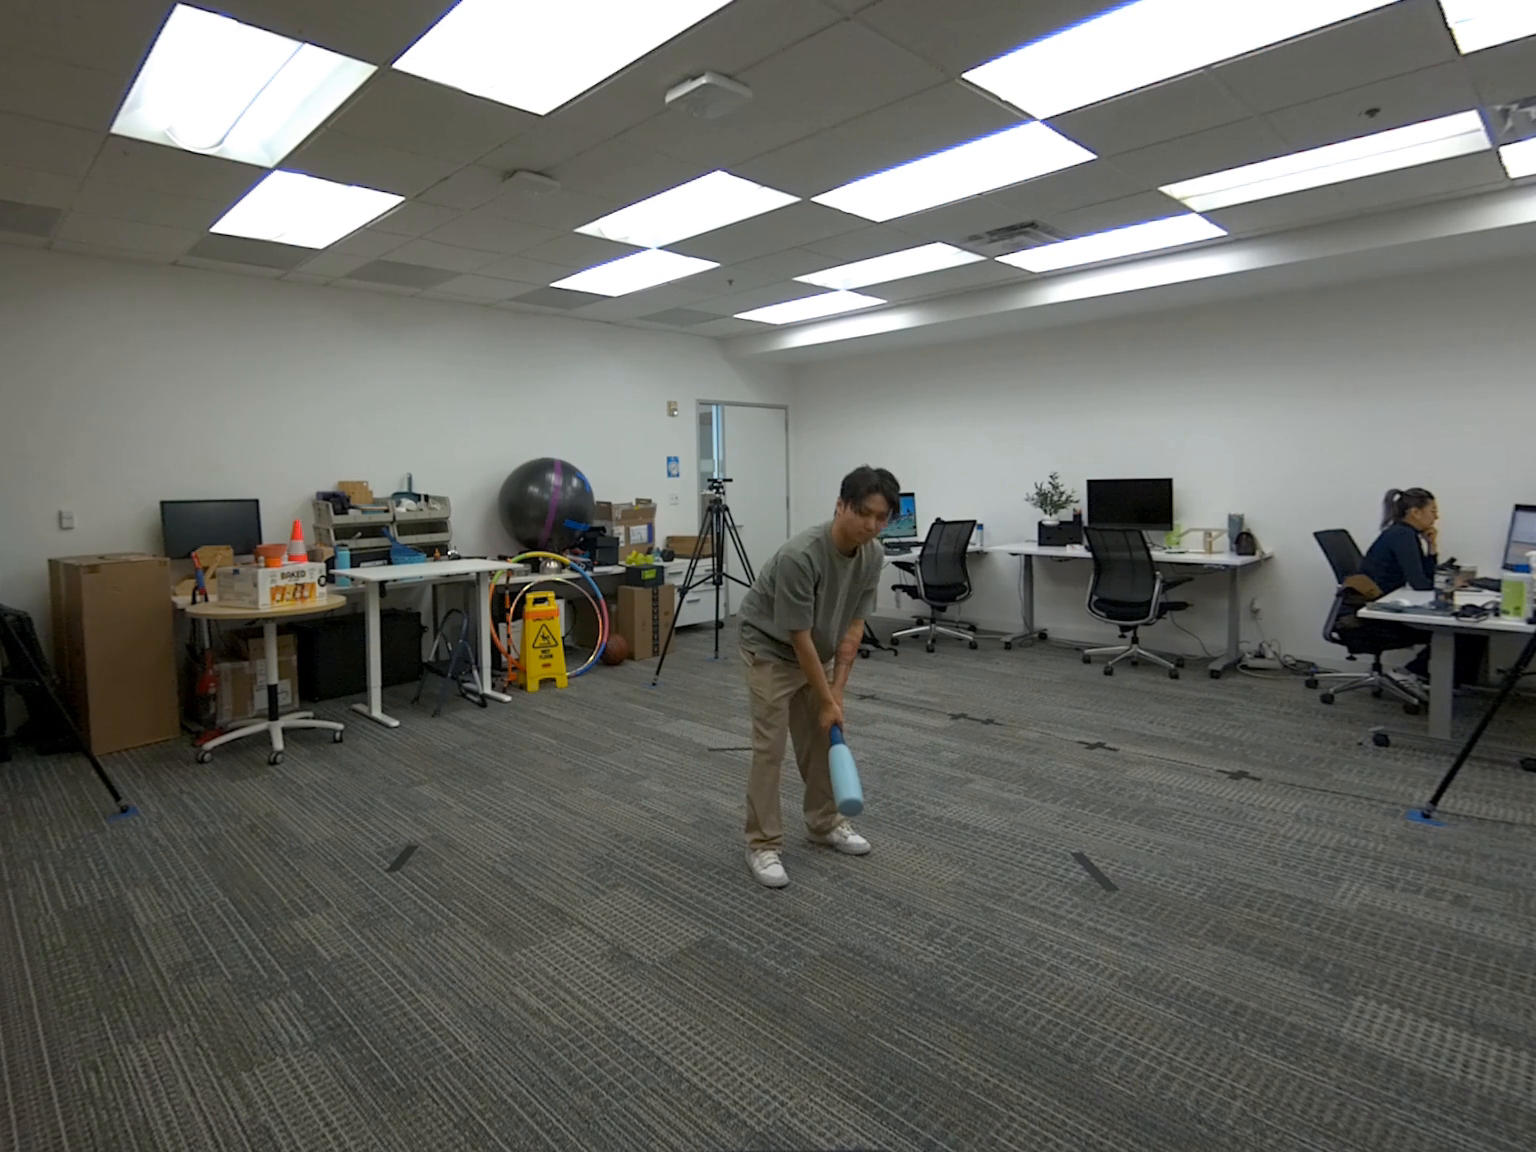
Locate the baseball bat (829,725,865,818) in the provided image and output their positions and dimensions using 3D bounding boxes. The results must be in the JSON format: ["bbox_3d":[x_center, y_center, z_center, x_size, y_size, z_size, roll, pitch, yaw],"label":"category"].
[{"bbox_3d":[0.243,0.582,2.853,0.089,0.087,0.556,-2,29,-2],"label":"baseball bat"}]
